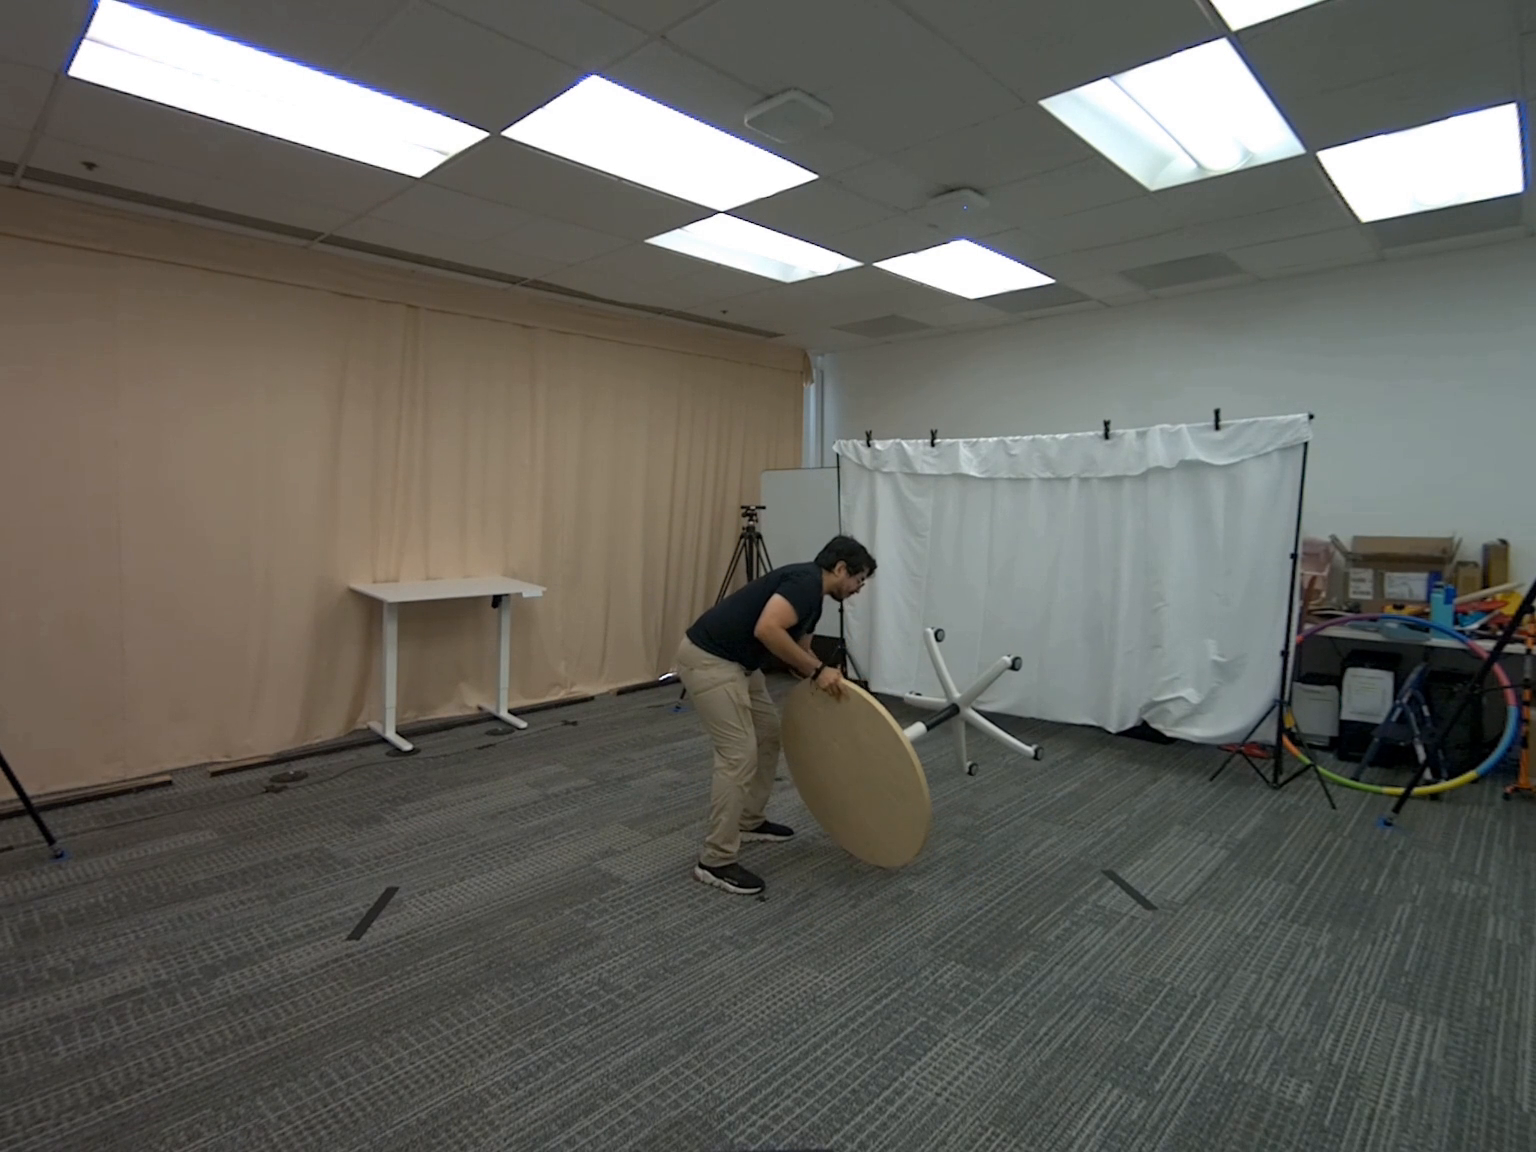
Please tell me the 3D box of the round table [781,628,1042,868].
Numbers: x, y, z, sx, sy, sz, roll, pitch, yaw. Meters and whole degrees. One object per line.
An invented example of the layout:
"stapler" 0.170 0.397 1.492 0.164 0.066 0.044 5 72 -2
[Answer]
"round table" 0.616 0.639 3.445 0.769 0.778 0.810 -19 14 -34
